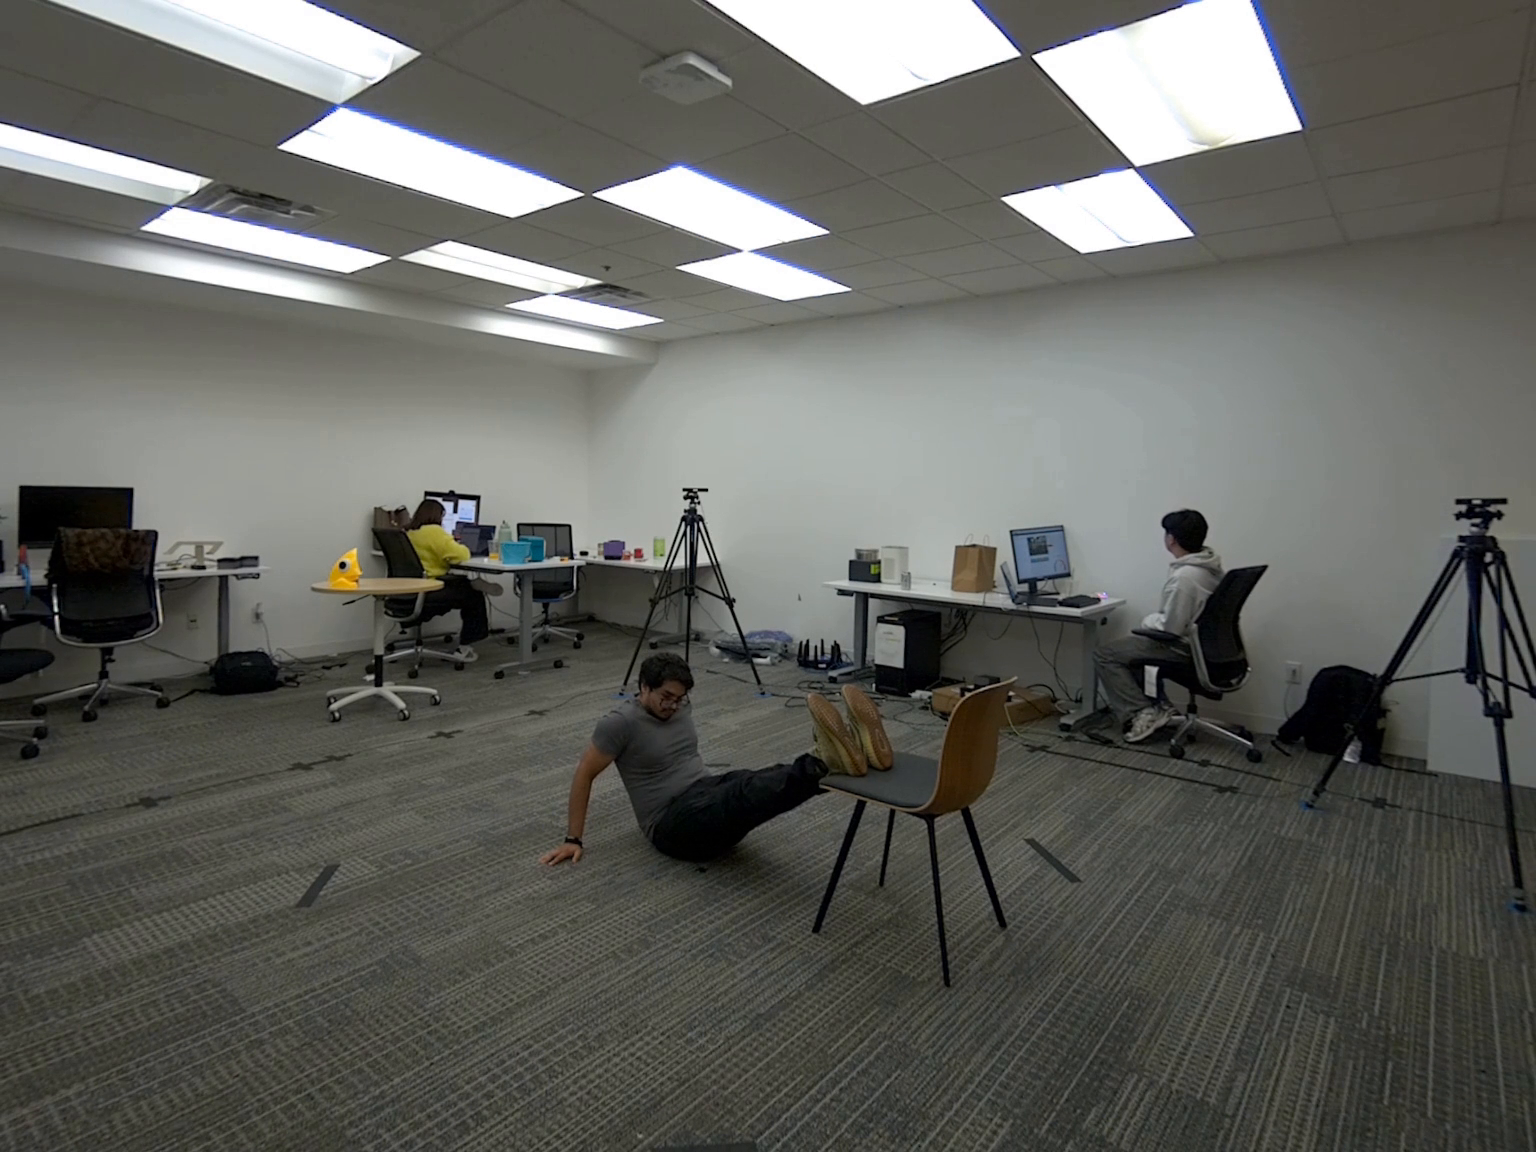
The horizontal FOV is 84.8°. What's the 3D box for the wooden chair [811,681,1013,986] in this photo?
[{"bbox_3d":[0.455,0.701,2.690,0.541,0.873,0.464,9,7,37],"label":"wooden chair"}]
